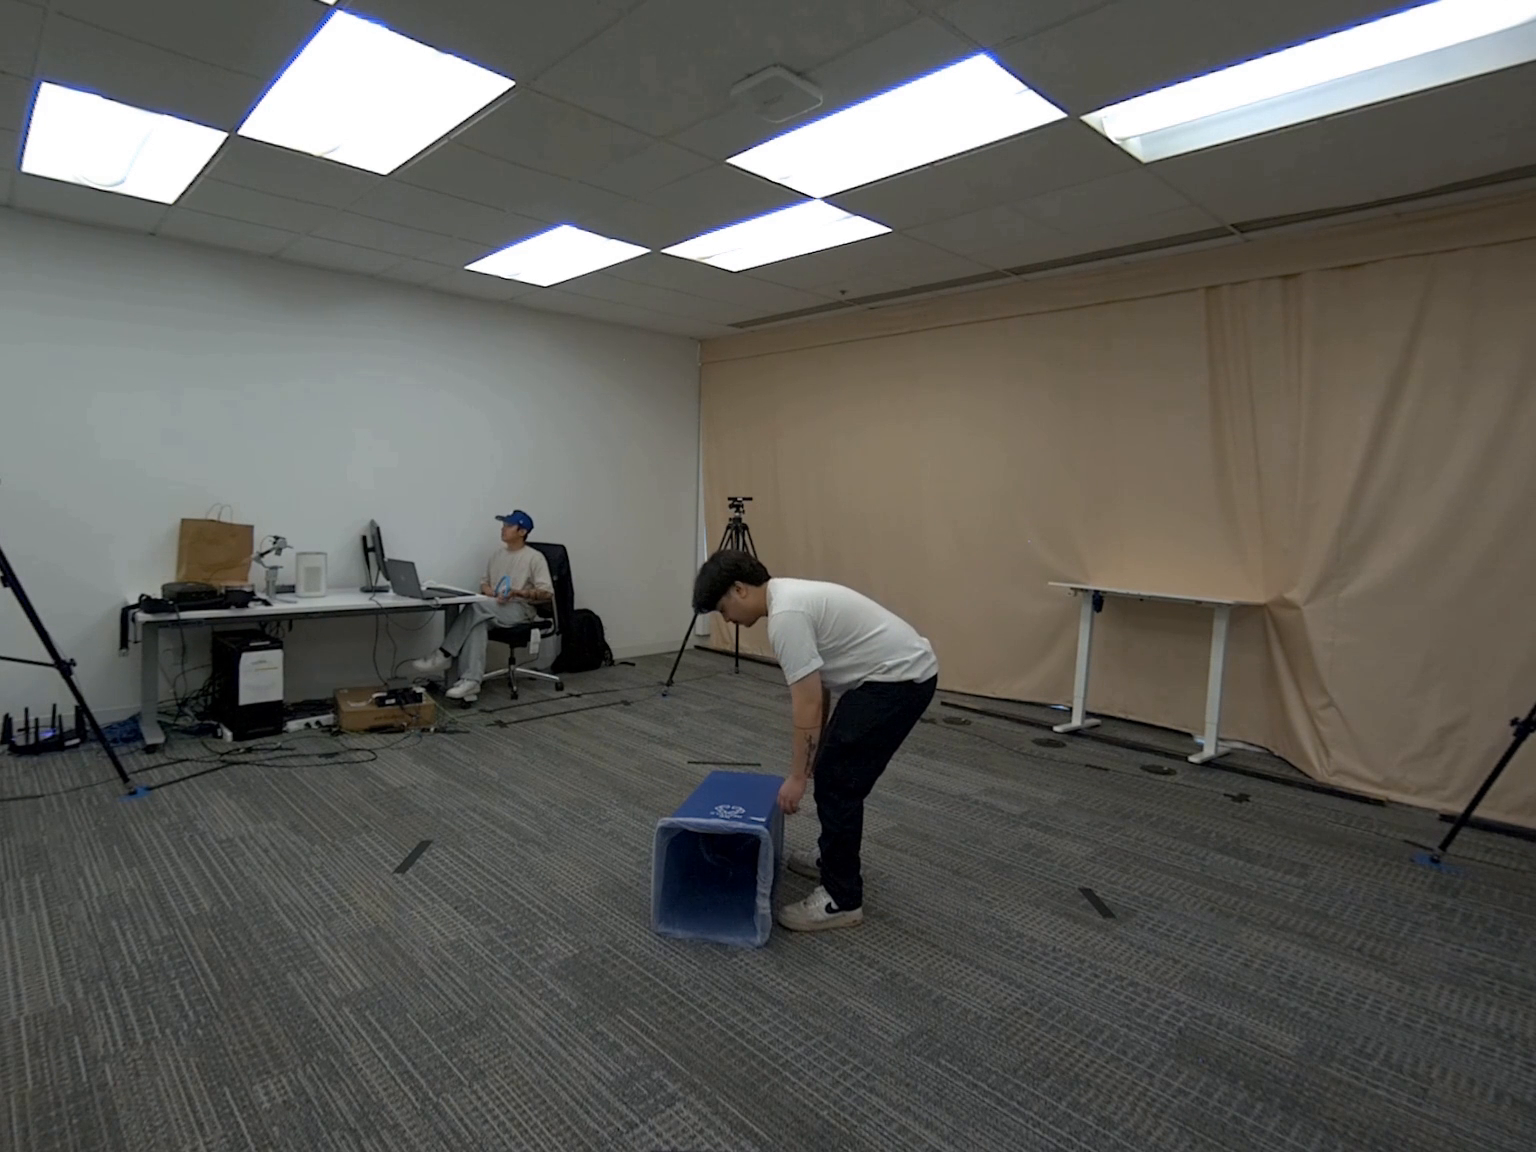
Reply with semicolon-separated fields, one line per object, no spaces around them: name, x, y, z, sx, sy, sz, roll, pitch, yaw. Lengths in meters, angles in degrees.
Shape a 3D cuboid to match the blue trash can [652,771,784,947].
blue trash can;-0.141;0.948;2.982;0.377;0.378;0.709;2;2;8
